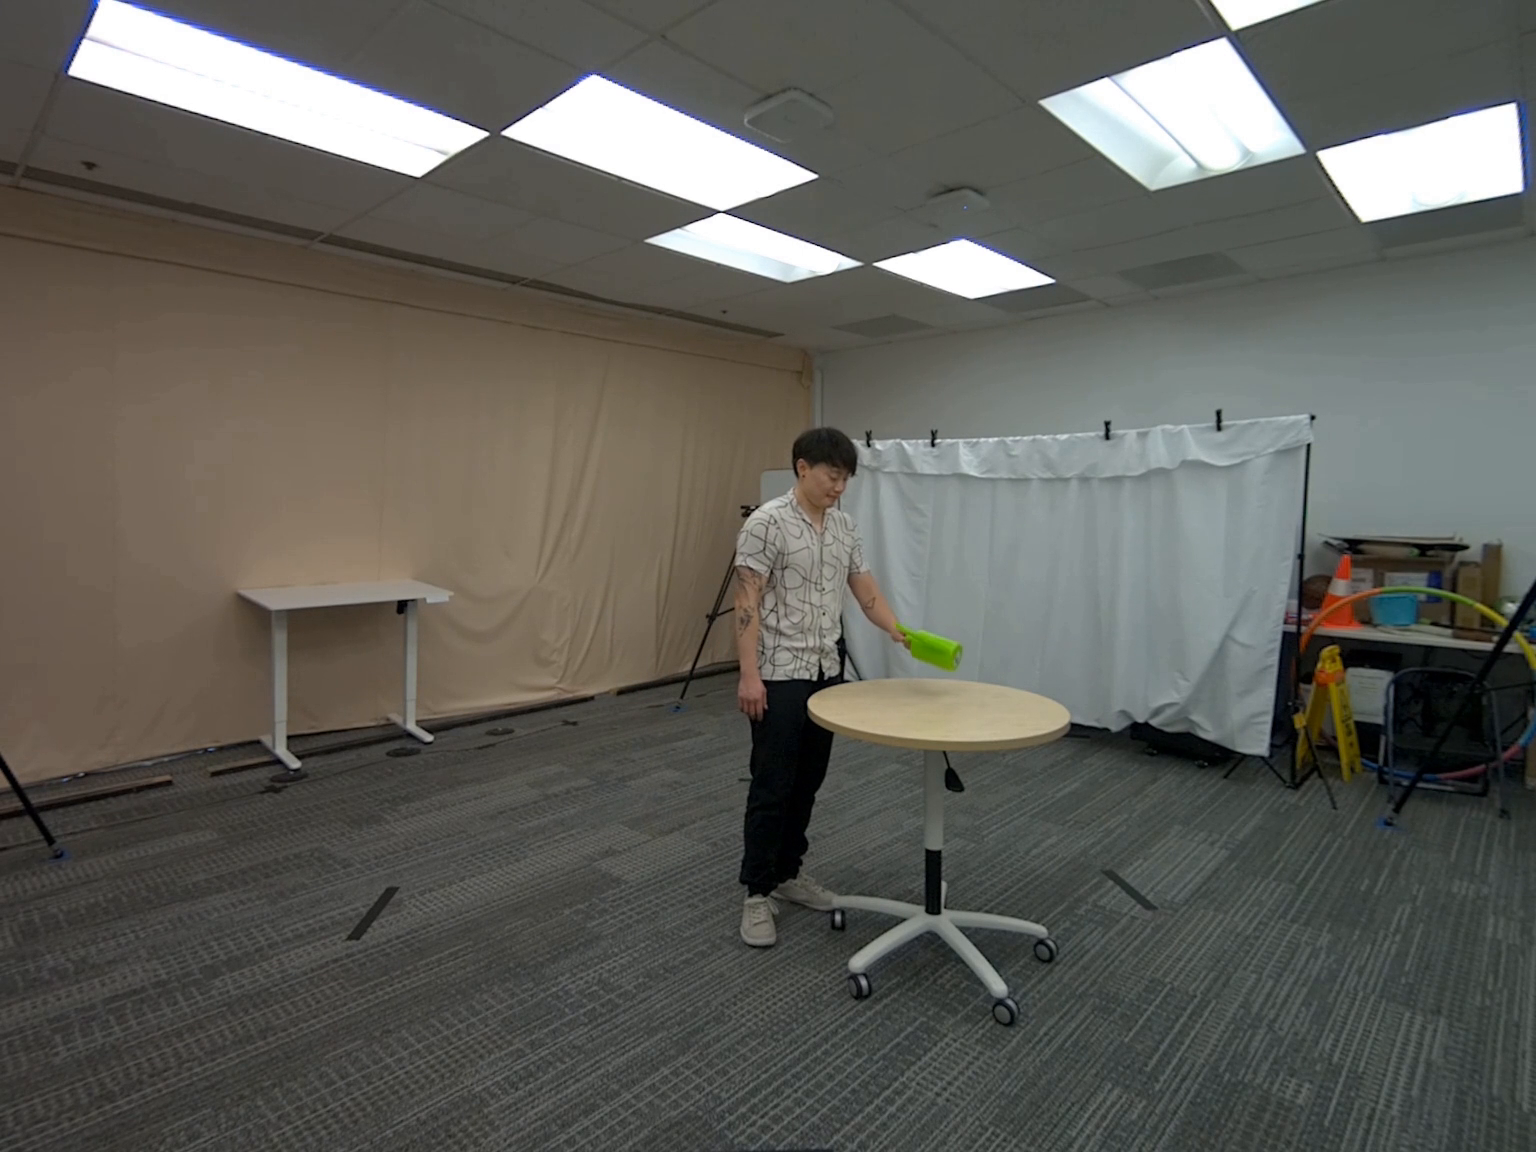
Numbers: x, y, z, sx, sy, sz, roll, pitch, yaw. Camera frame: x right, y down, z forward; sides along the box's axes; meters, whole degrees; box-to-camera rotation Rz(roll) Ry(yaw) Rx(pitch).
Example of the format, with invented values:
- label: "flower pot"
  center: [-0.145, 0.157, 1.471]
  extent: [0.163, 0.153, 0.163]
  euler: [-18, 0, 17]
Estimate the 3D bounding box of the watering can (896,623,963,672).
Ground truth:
- label: "watering can"
  center: [0.503, 0.233, 2.643]
  extent: [0.182, 0.098, 0.270]
  euler: [18, 1, 28]
